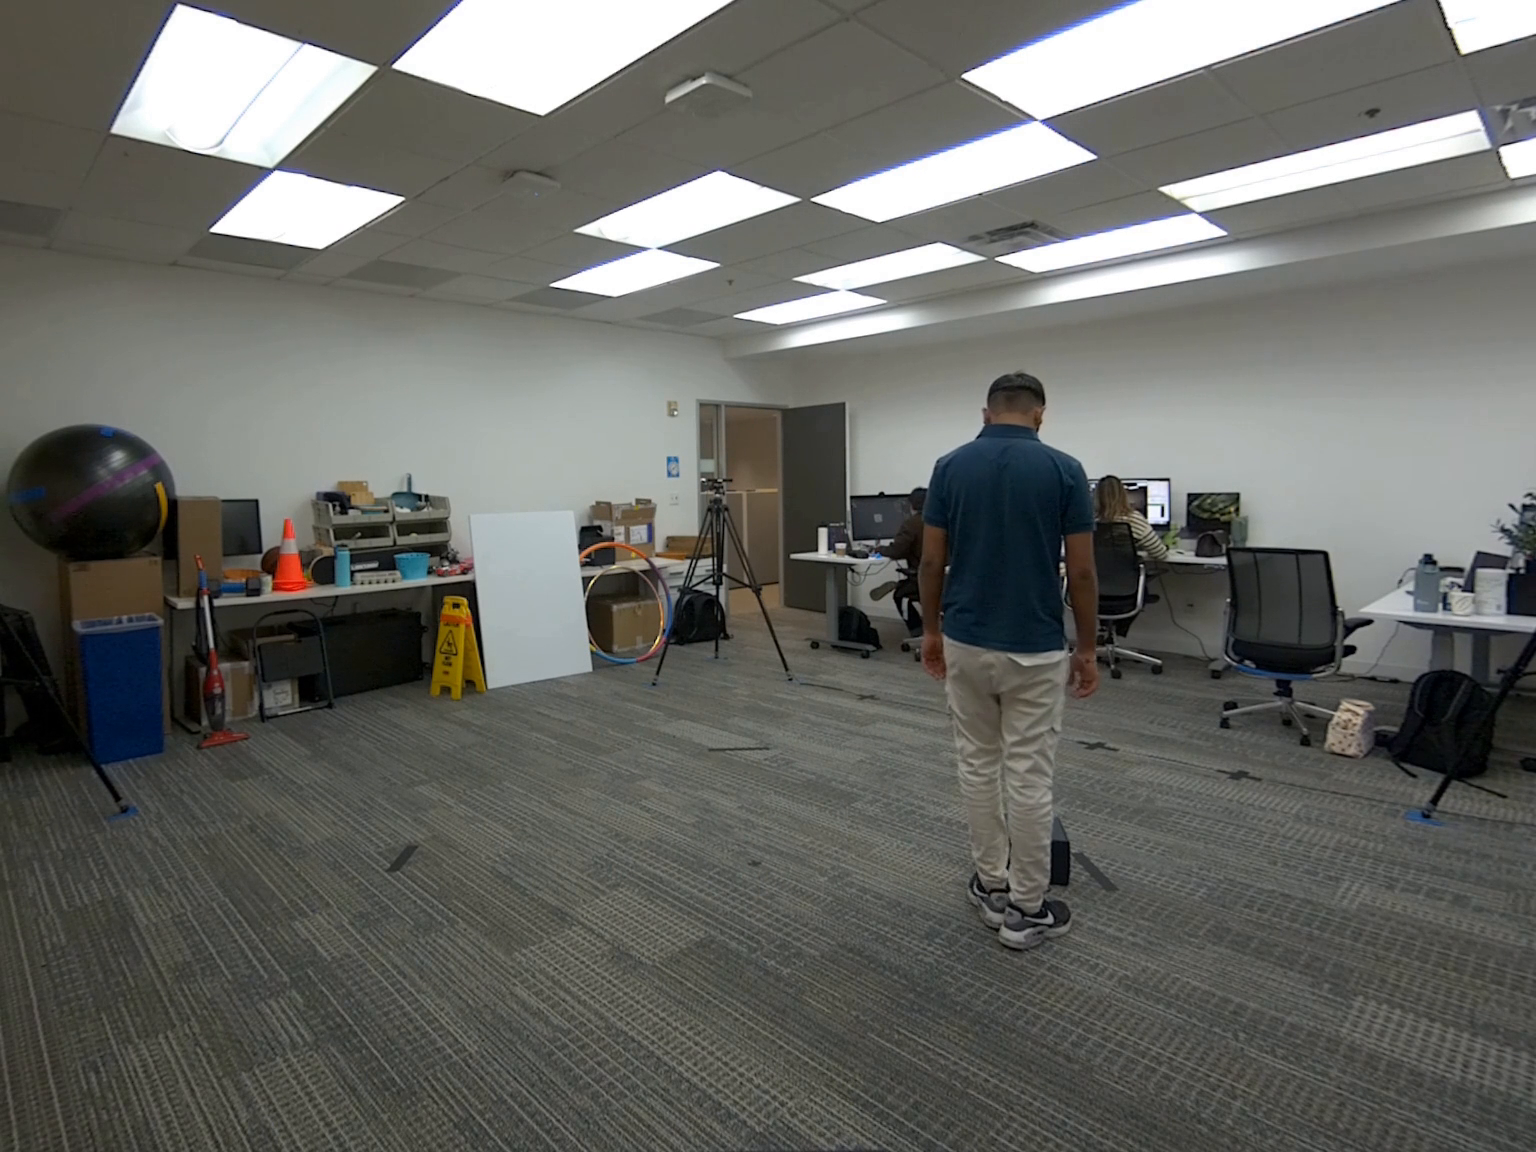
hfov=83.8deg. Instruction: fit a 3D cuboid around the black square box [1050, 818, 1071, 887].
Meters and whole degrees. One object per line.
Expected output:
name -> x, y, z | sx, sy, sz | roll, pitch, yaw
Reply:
black square box -> 0.933, 0.955, 3.014 | 0.230, 0.155, 0.215 | -1, 5, 11
